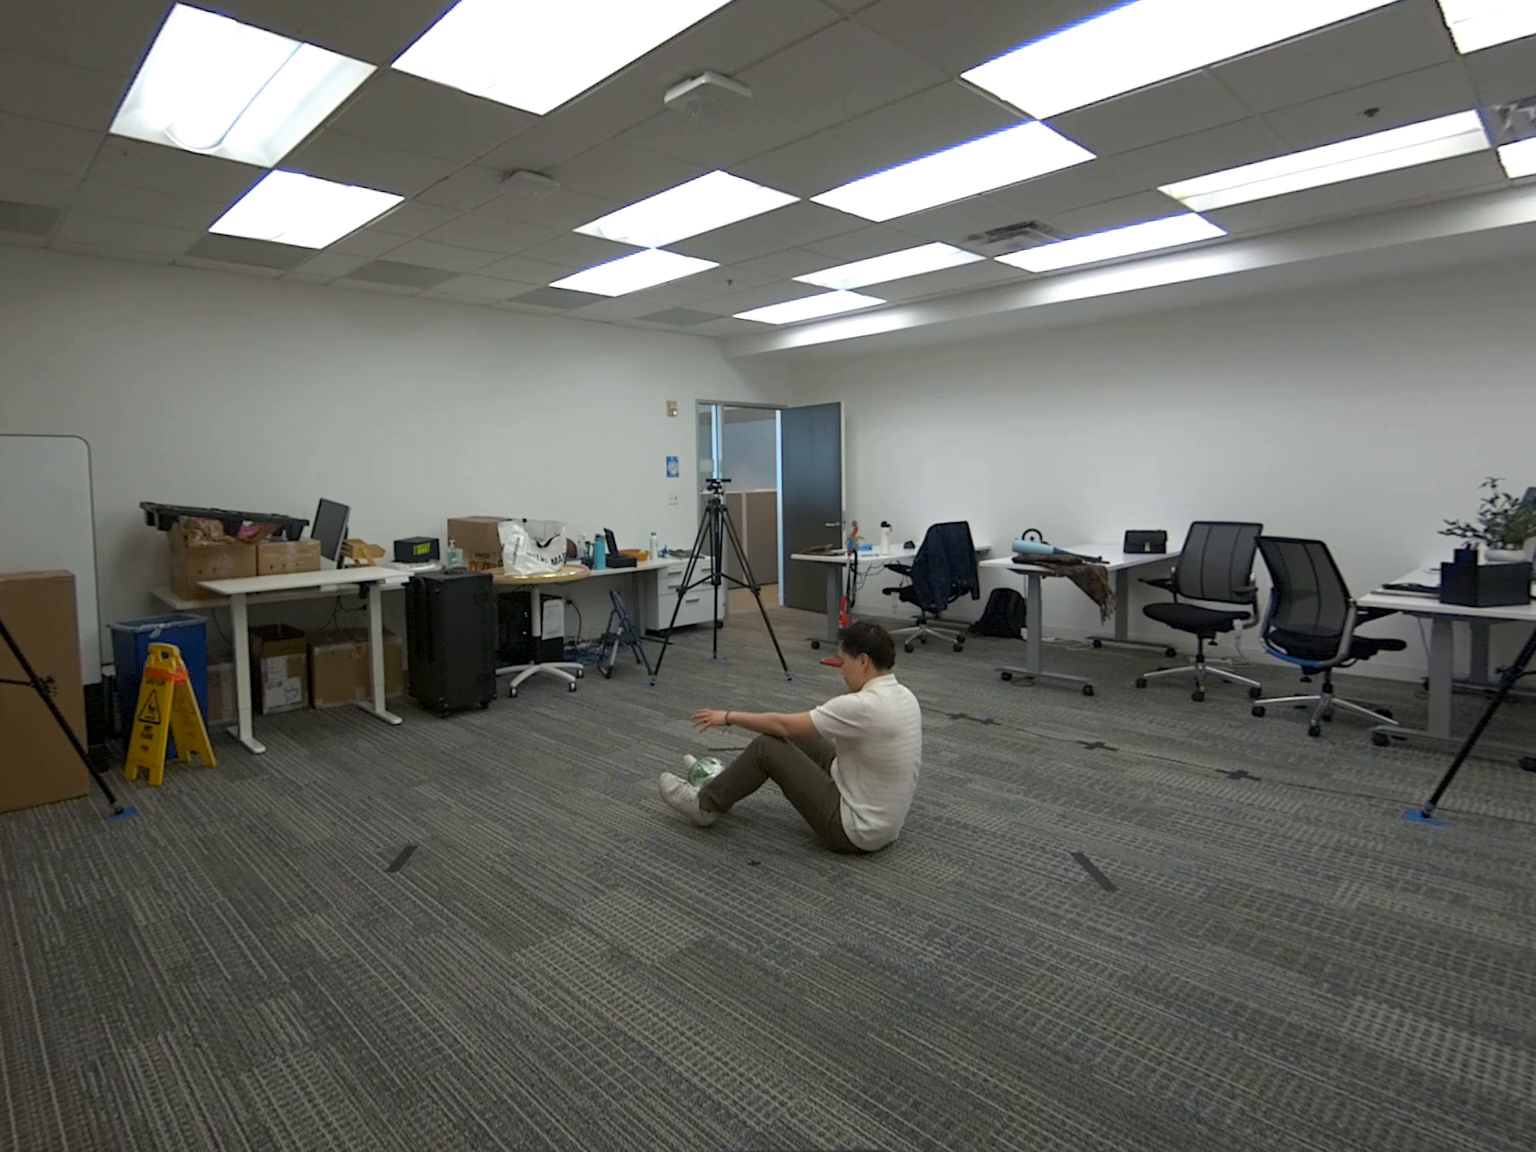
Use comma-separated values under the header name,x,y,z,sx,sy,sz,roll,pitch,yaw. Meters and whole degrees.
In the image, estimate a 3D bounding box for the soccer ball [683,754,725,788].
name,x,y,z,sx,sy,sz,roll,pitch,yaw
soccer ball,-0.234,0.842,3.539,0.187,0.187,0.188,-1,5,-2
